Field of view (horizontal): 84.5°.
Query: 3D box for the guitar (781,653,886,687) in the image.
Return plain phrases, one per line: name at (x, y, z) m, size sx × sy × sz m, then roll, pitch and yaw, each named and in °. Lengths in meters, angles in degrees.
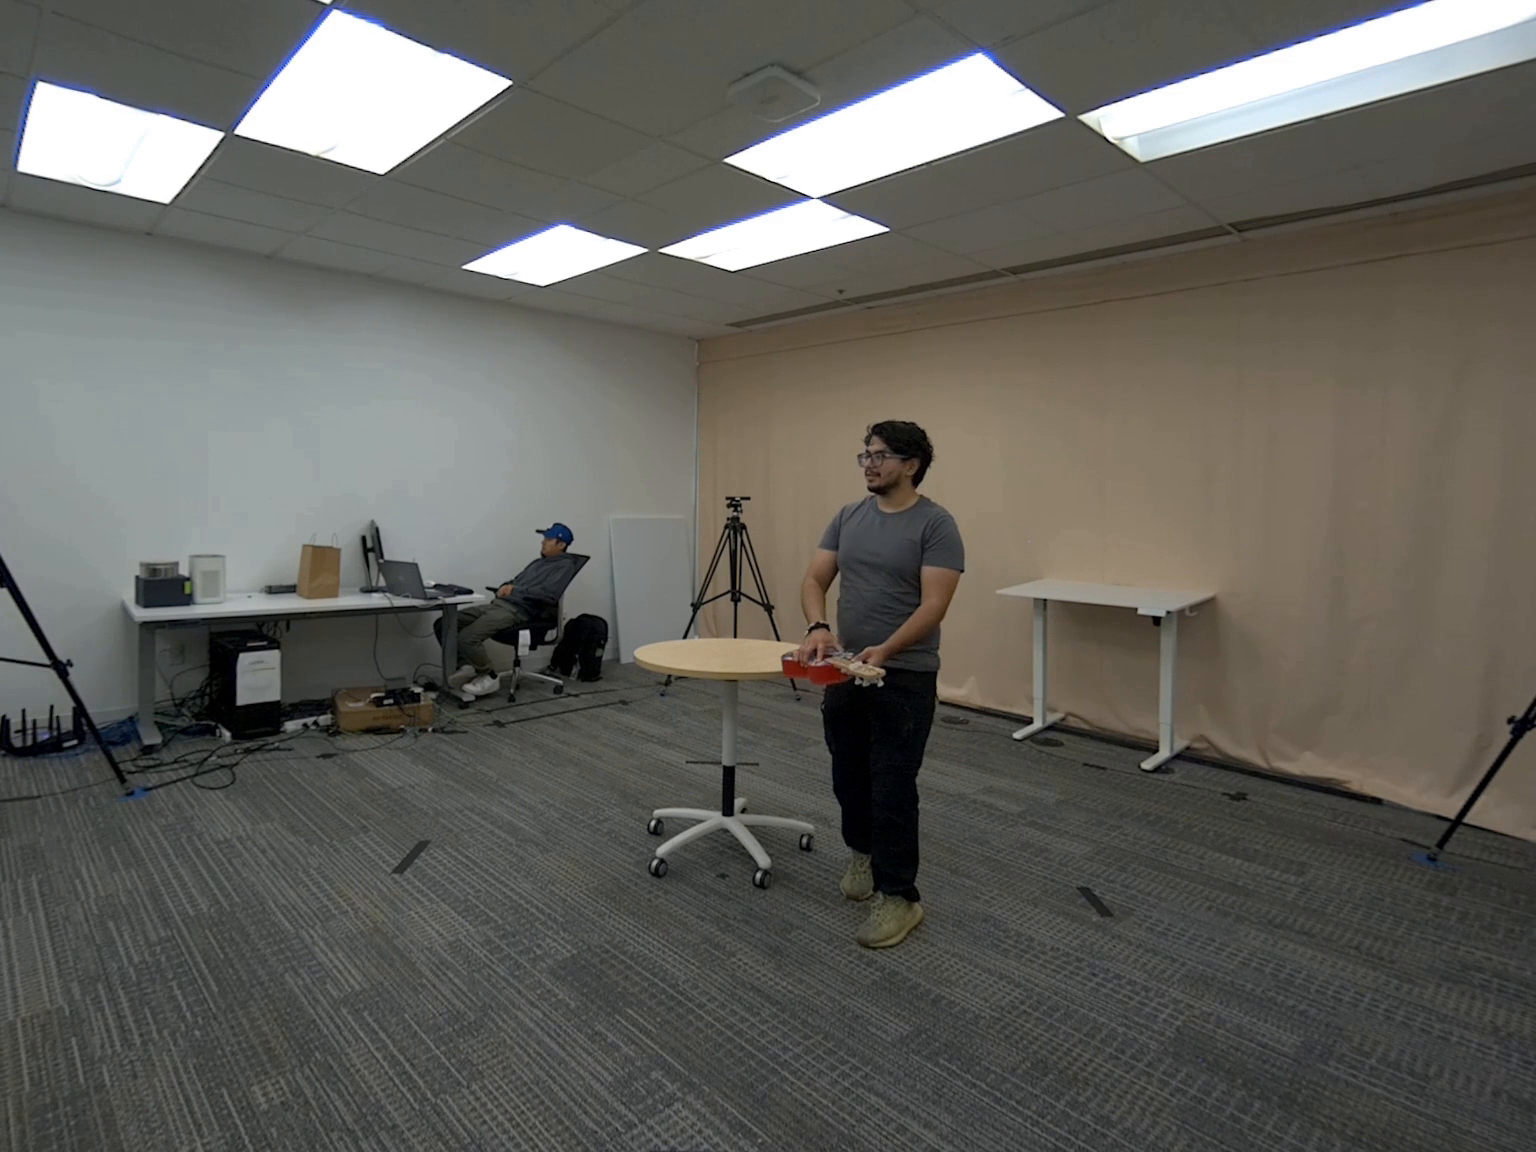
guitar at (0.166, 0.284, 2.460) m, size 0.192 × 0.070 × 0.503 m, roll -11°, pitch 7°, yaw -11°
